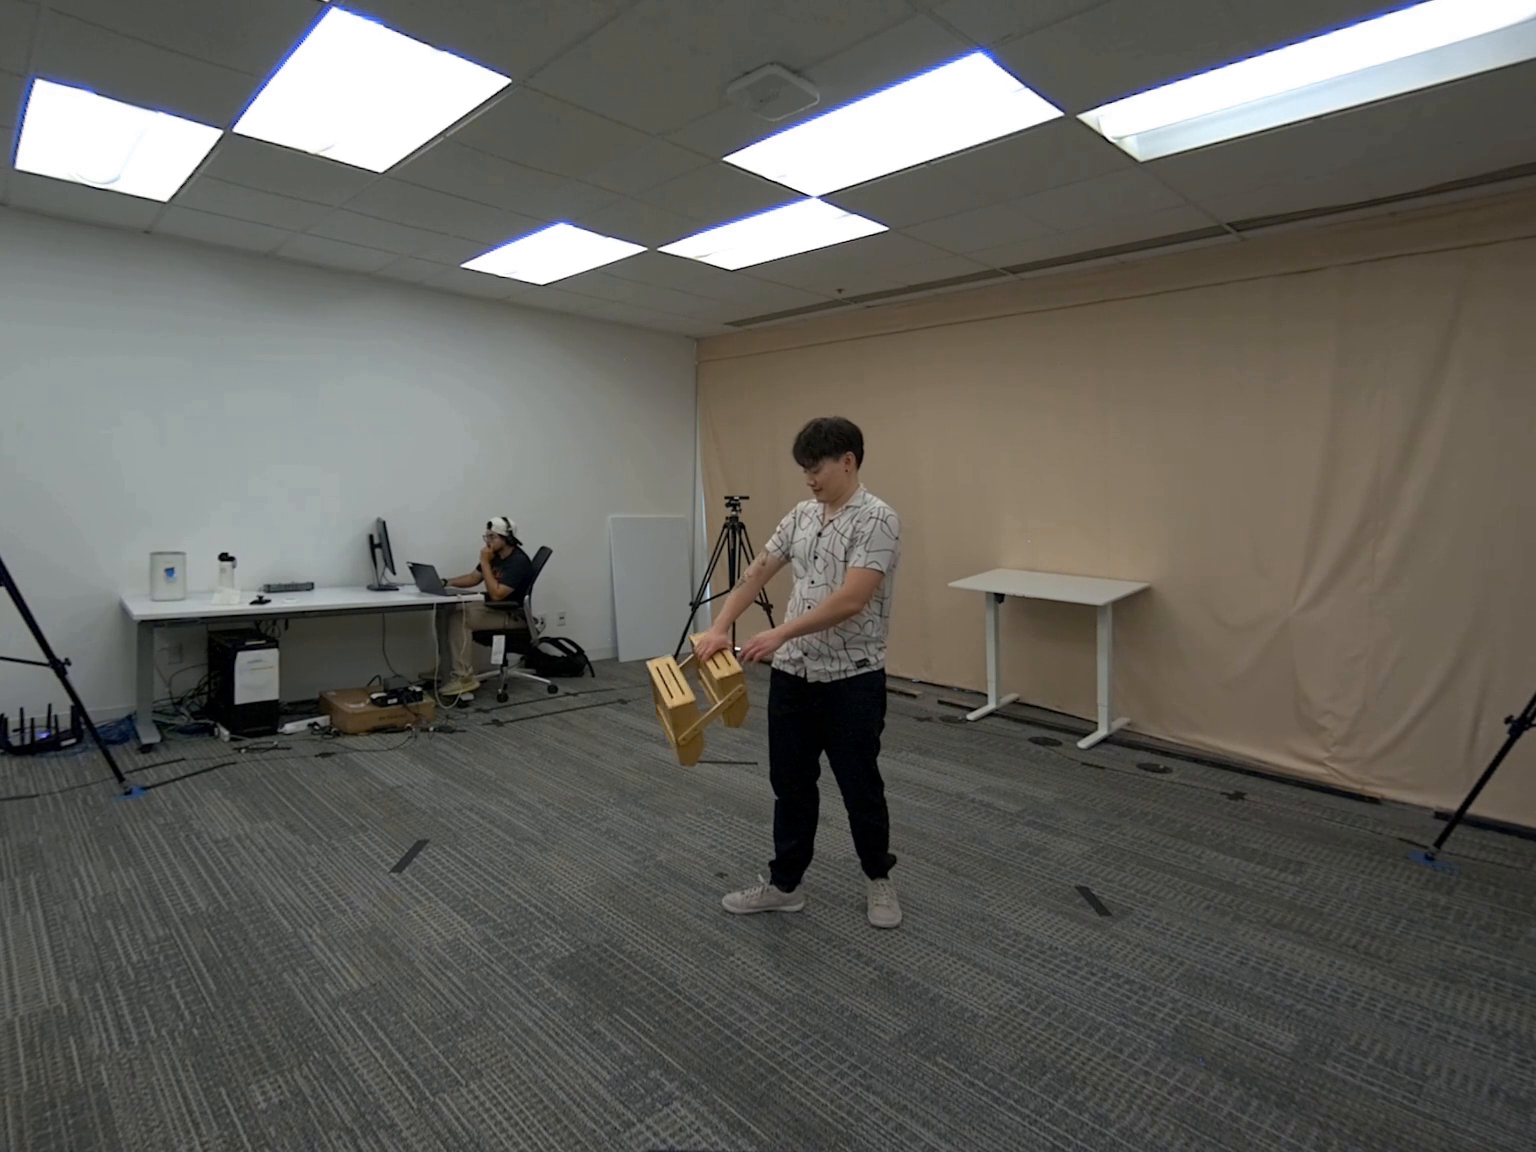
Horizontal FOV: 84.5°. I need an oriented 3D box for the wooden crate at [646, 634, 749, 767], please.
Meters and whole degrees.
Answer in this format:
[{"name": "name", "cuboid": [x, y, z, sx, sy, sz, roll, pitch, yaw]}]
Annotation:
[{"name": "wooden crate", "cuboid": [-0.230, 0.400, 2.853, 0.271, 0.296, 0.334, -17, 28, -15]}]
